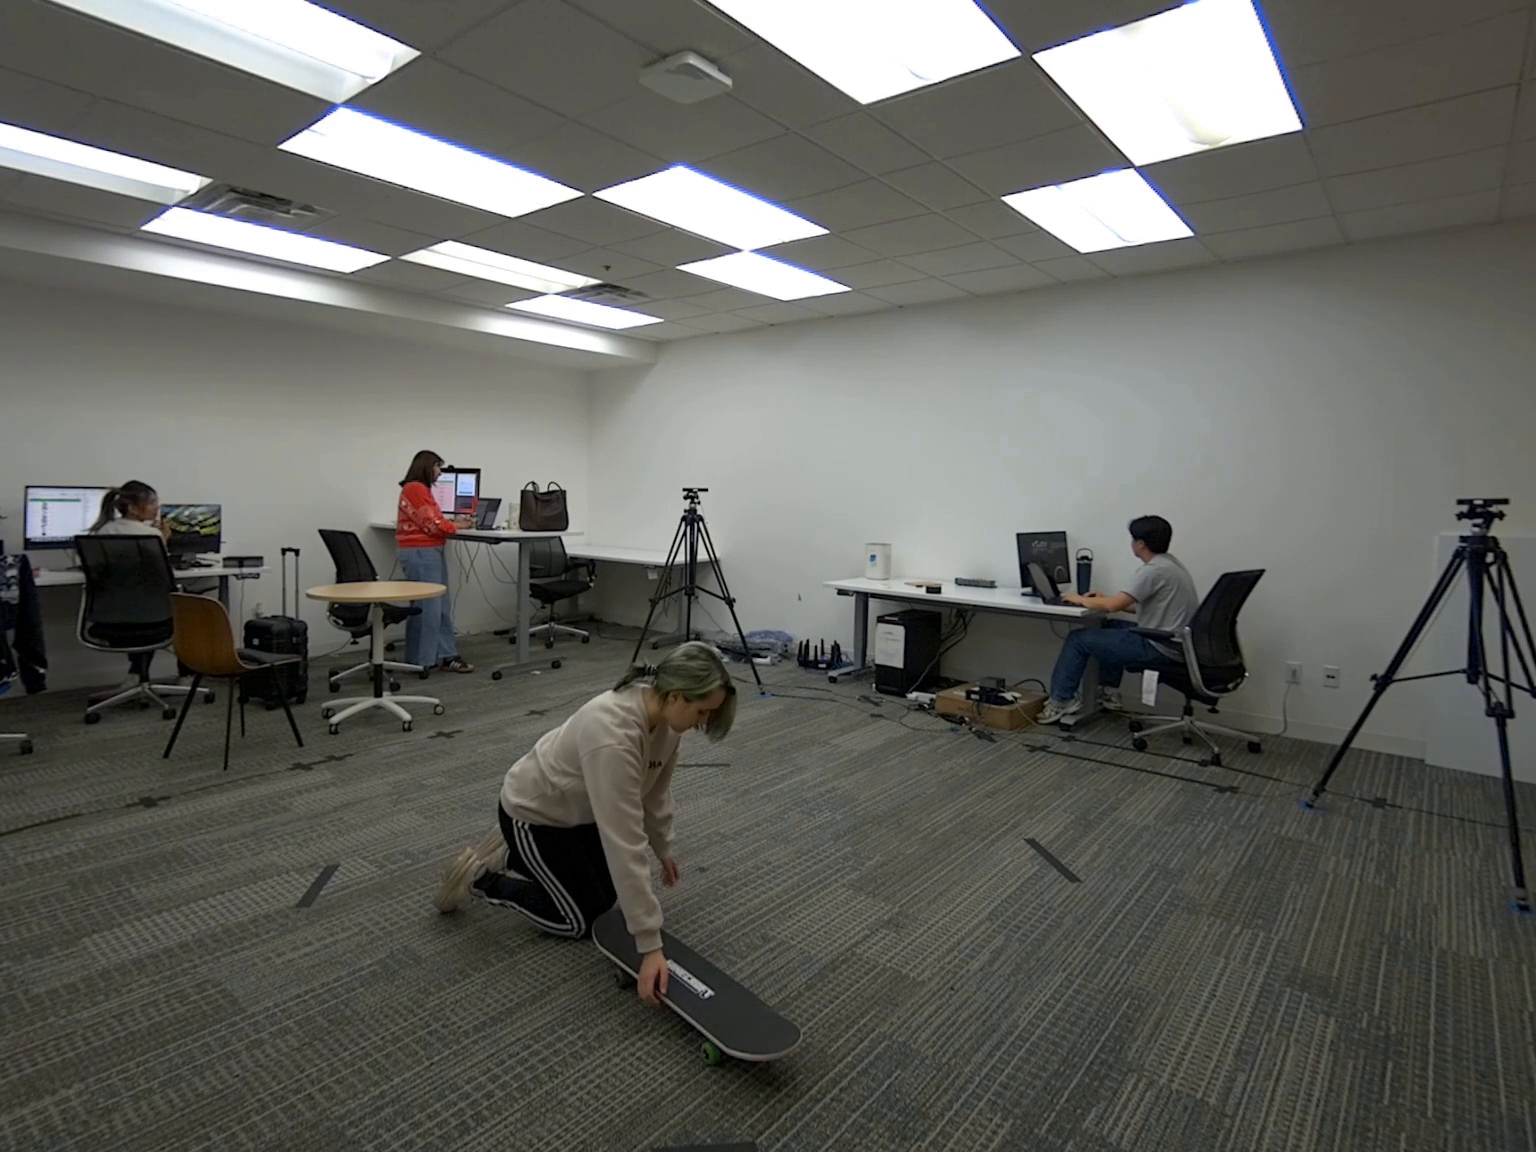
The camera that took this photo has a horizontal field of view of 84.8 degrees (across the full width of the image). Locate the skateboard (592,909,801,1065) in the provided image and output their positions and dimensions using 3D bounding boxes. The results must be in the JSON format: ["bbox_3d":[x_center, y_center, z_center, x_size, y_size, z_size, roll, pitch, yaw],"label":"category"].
[{"bbox_3d":[-0.223,1.103,2.252,0.188,0.110,0.812,-4,8,-41],"label":"skateboard"}]
